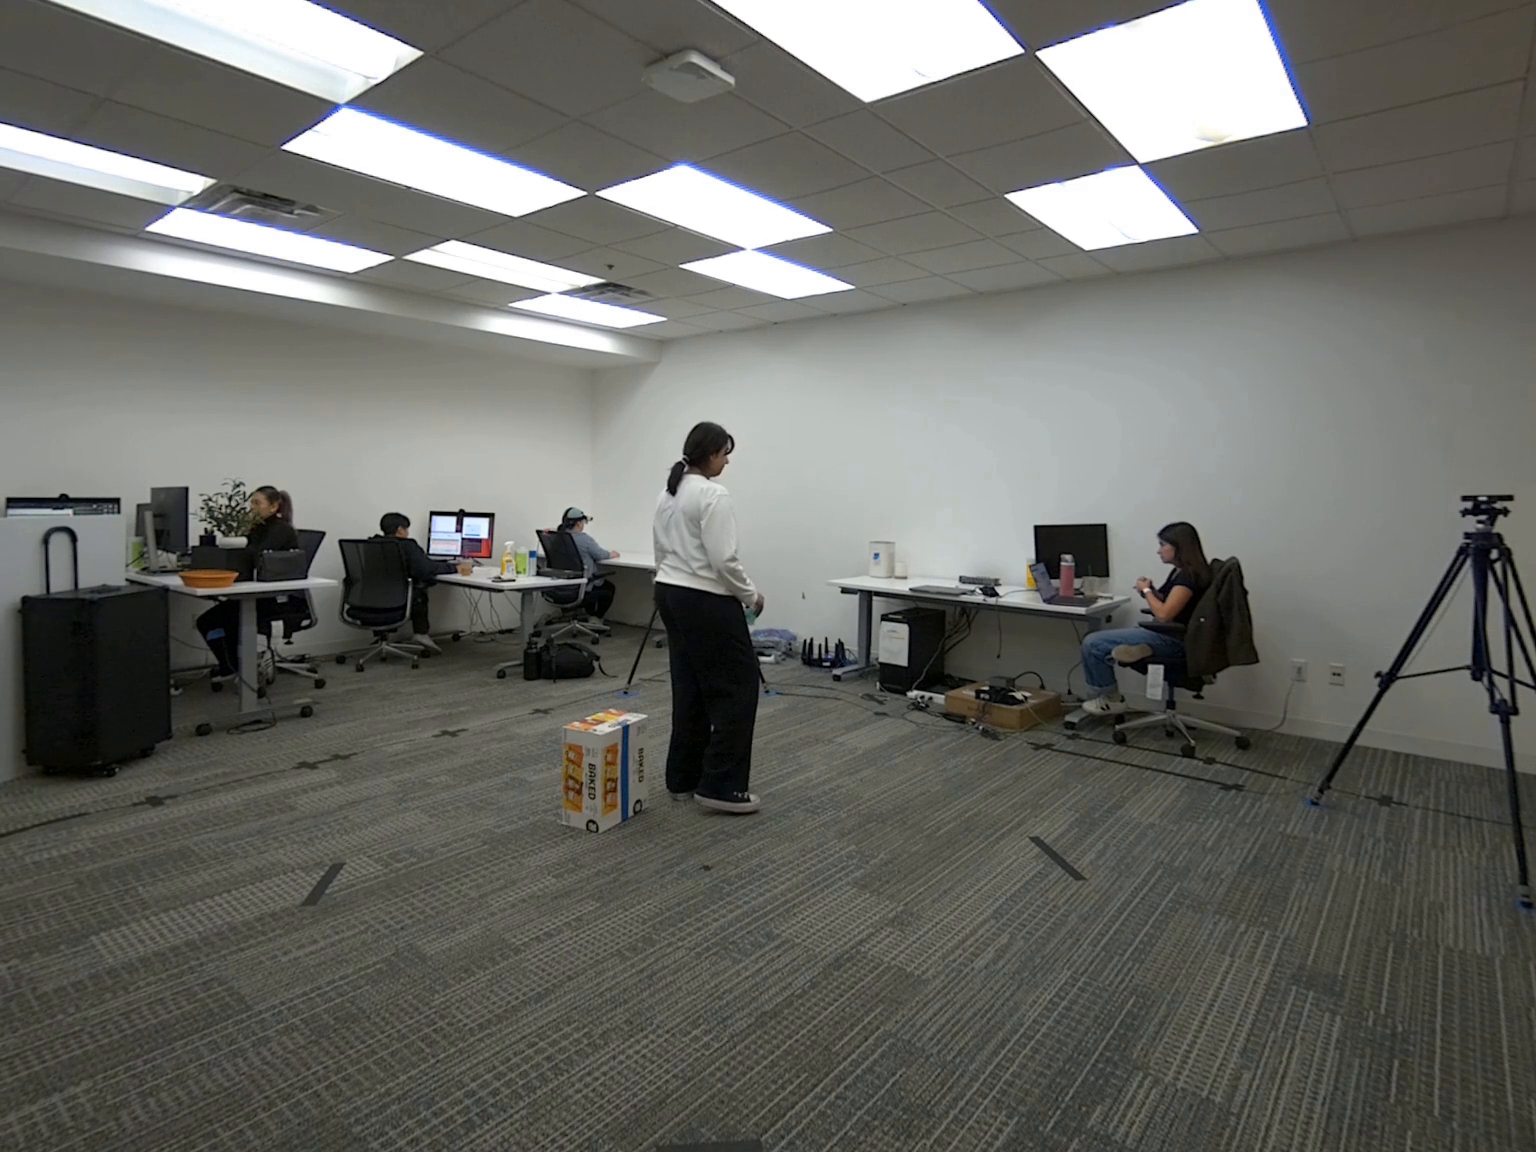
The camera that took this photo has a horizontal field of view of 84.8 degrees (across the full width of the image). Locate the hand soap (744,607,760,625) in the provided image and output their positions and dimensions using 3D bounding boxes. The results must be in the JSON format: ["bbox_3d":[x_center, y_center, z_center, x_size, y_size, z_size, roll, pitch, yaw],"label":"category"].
[{"bbox_3d":[-0.070,0.140,3.847,0.042,0.167,0.087,6,6,-22],"label":"hand soap"}]
